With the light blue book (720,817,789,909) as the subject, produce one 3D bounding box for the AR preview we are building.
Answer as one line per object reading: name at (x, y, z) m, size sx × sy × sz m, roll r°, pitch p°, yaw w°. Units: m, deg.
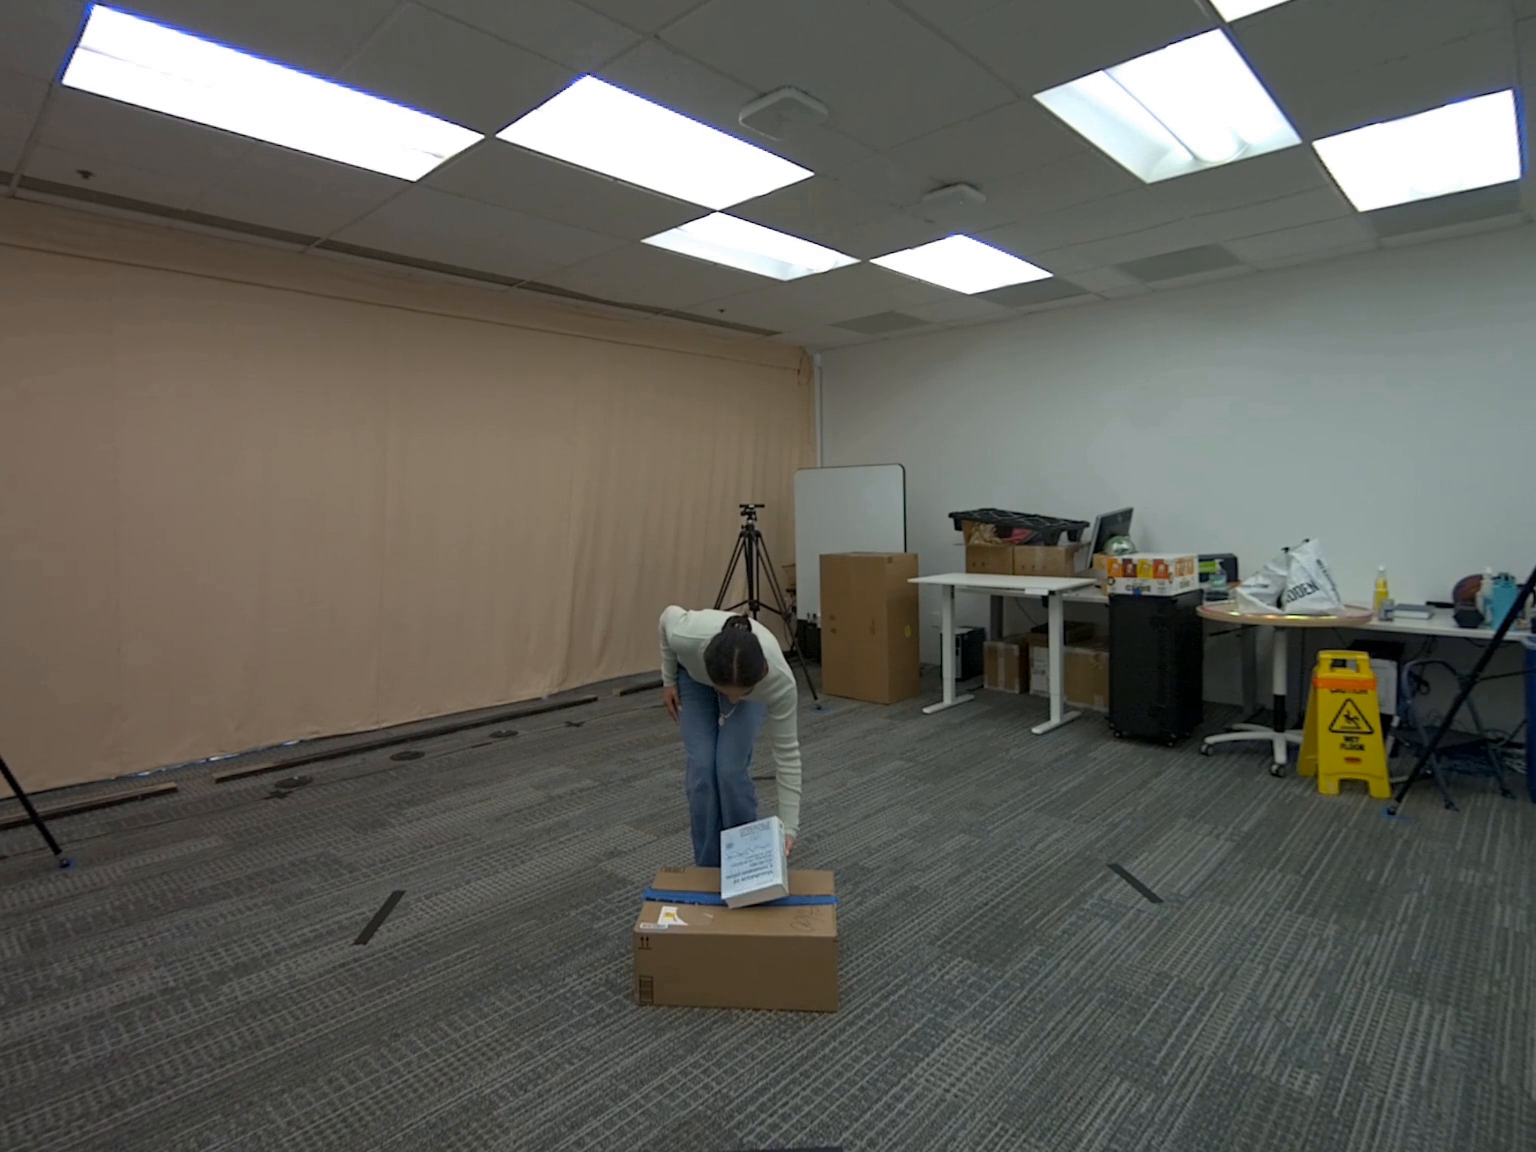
light blue book at (-0.042, 0.870, 2.560) m, size 0.193 × 0.057 × 0.265 m, roll -20°, pitch 27°, yaw 9°
